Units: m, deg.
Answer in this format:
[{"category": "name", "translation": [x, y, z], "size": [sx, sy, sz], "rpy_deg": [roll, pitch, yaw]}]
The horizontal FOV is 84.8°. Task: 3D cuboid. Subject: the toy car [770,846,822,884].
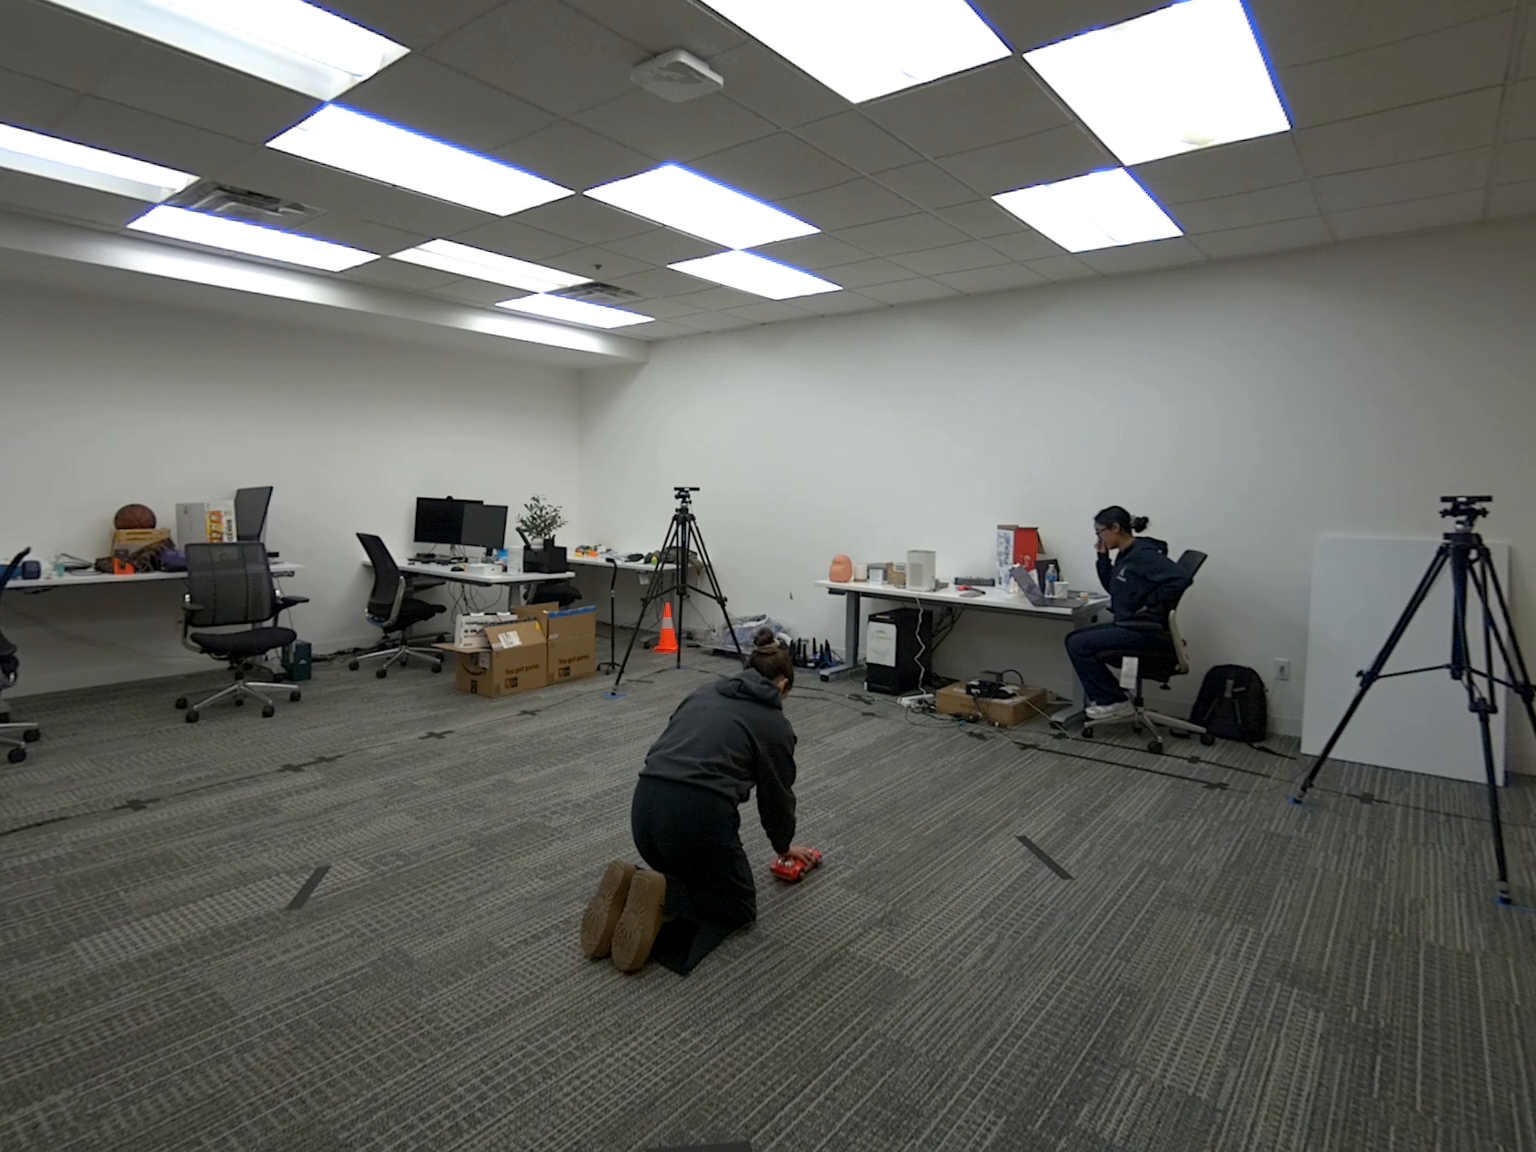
[{"category": "toy car", "translation": [0.096, 1.040, 3.088], "size": [0.134, 0.083, 0.246], "rpy_deg": [5, -5, 31]}]
